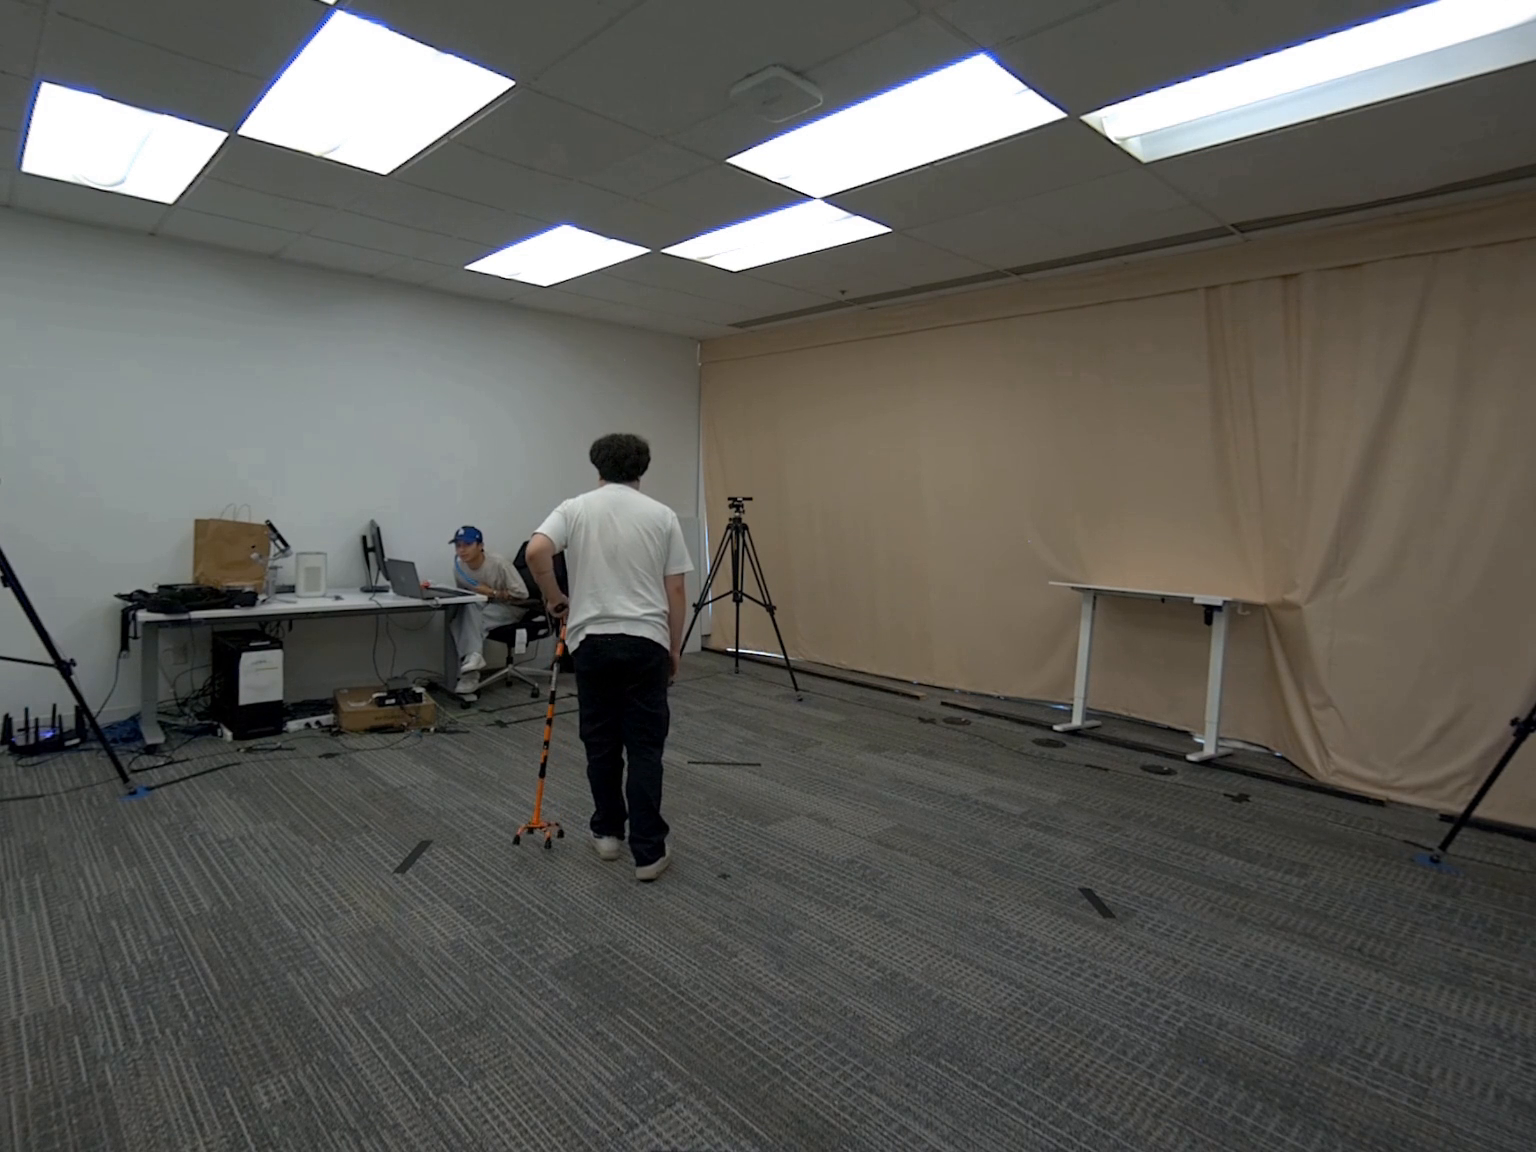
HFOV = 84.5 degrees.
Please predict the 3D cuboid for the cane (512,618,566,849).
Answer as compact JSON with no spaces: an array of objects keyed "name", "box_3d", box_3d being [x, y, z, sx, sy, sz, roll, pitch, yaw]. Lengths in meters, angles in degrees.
[{"name":"cane","box_3d":[-0.836,0.574,3.300,0.151,0.912,0.205,6,-6,-1]}]
